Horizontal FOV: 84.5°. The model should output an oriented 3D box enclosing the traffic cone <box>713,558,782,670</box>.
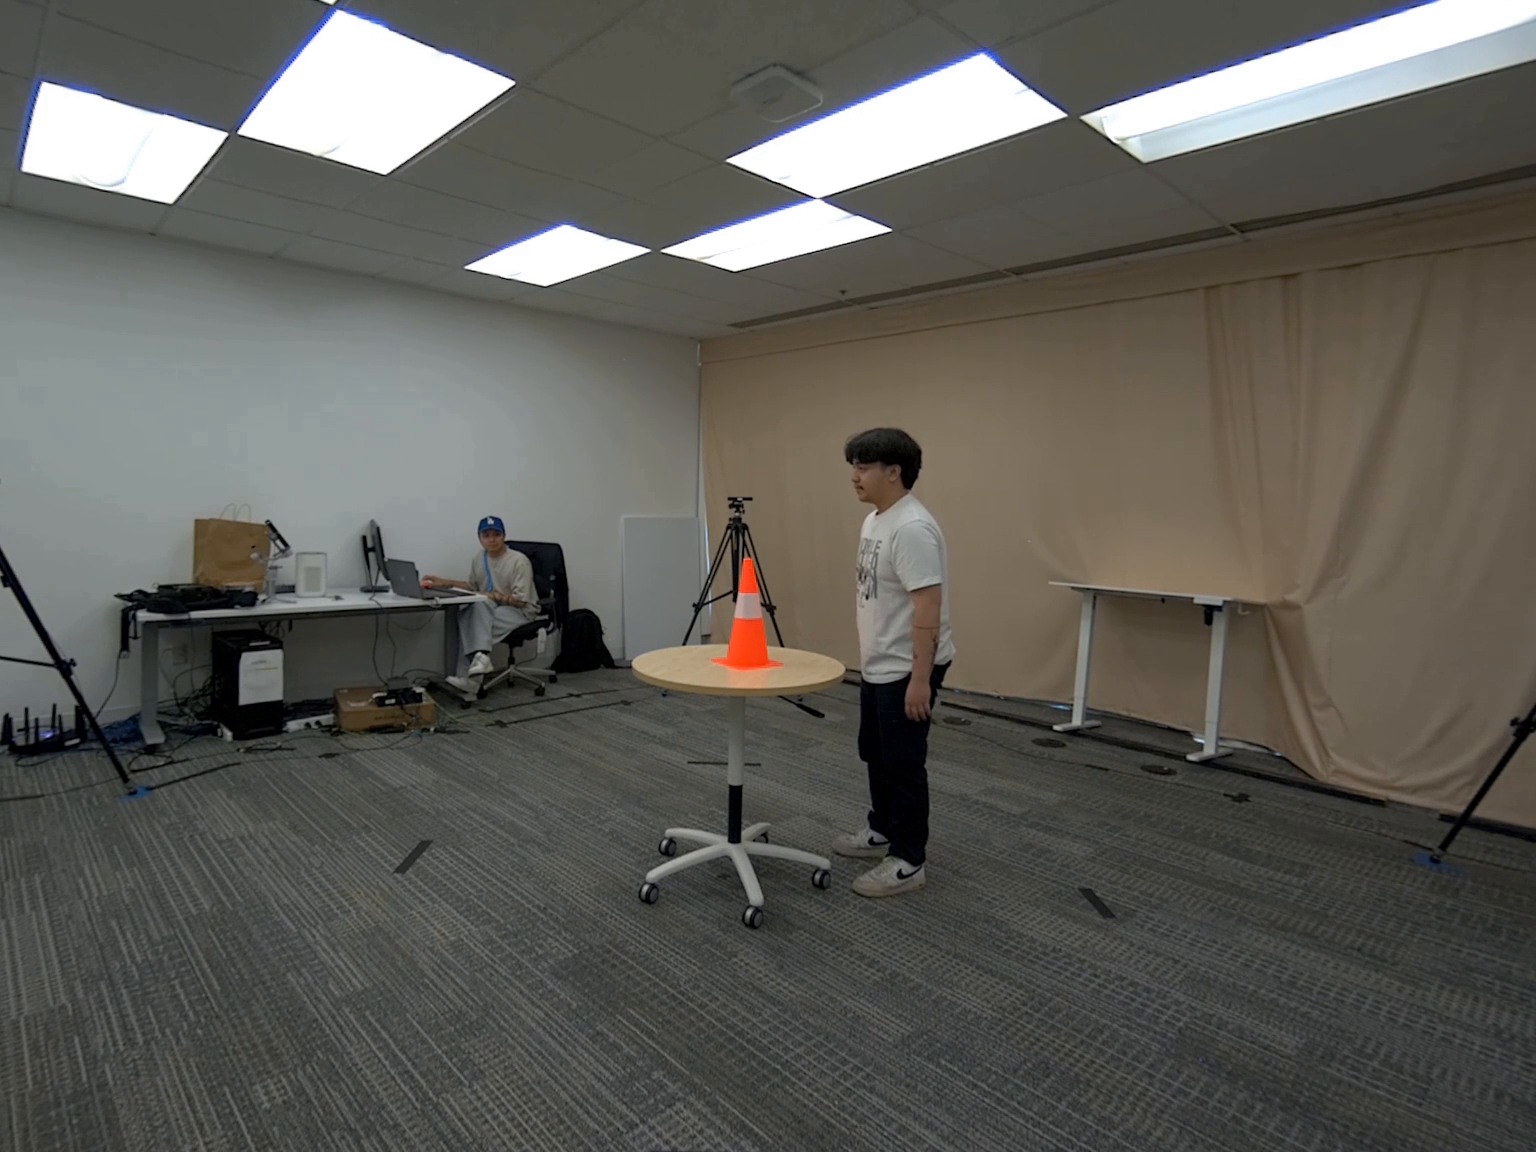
[{"bbox_3d":[-0.069,0.129,3.042,0.208,0.382,0.200,6,6,43],"label":"traffic cone"}]
